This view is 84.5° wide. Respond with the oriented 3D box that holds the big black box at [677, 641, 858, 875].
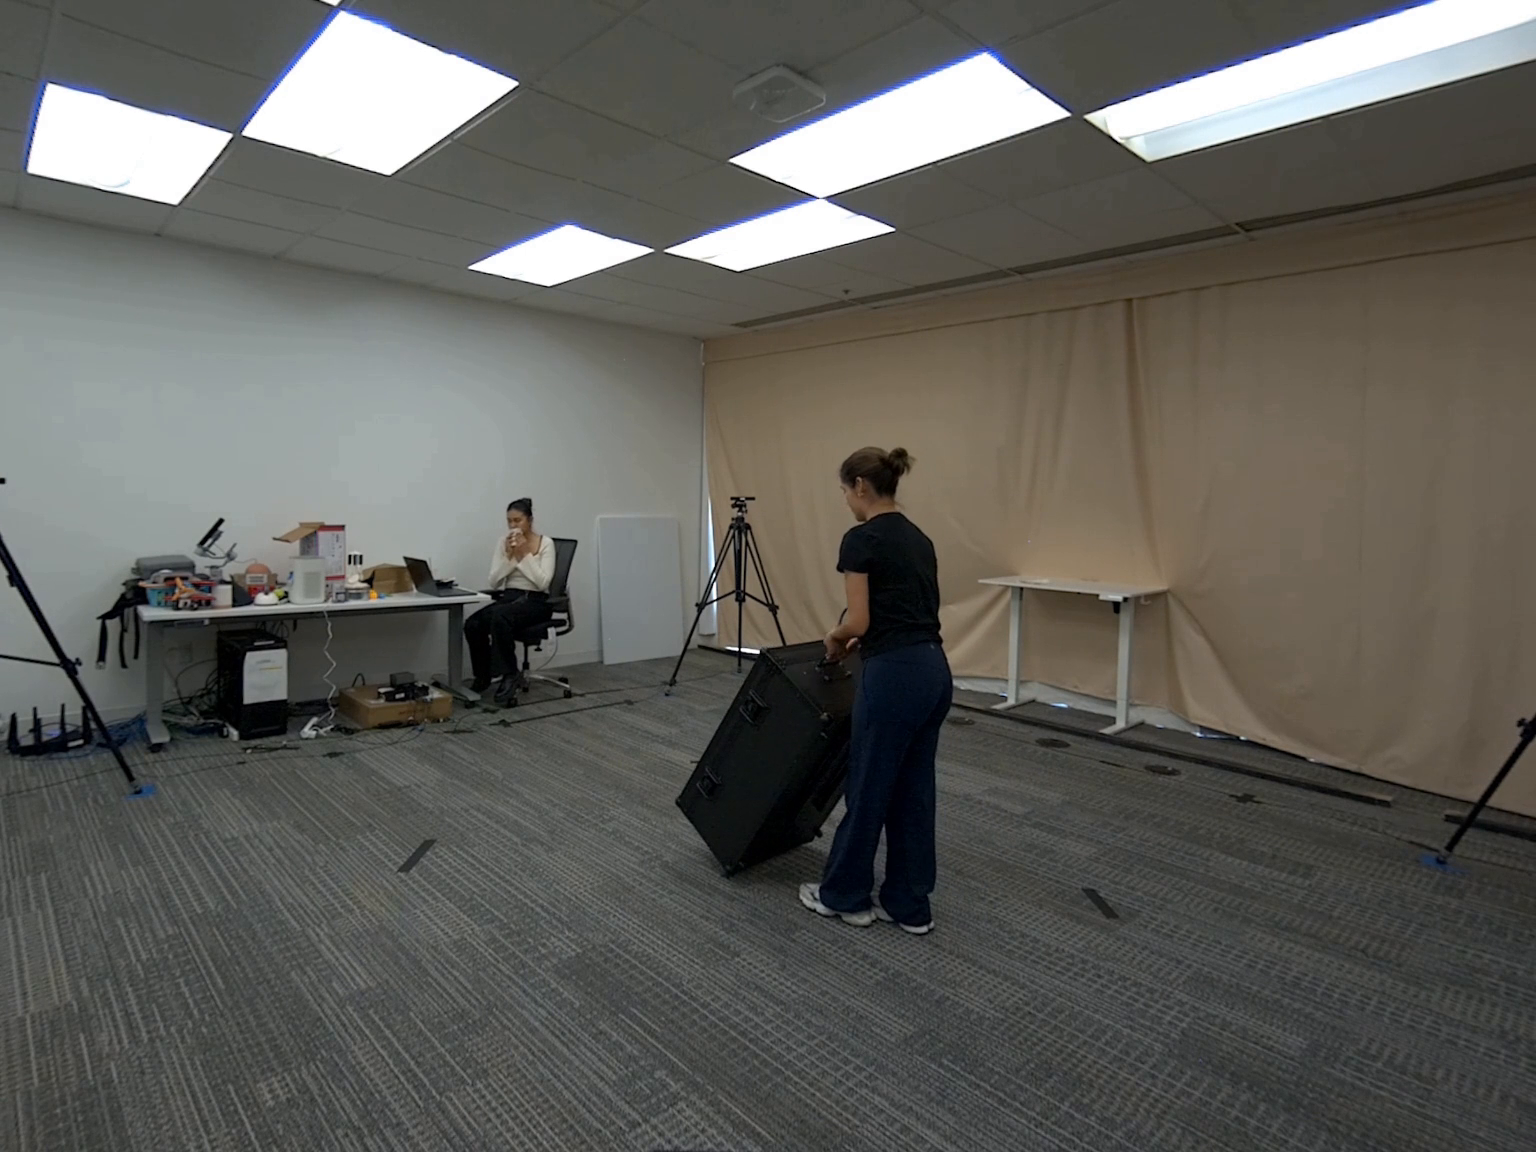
[{"bbox_3d":[0.066,0.694,3.145,0.509,0.856,0.408,-3,40,-48],"label":"big black box"}]
